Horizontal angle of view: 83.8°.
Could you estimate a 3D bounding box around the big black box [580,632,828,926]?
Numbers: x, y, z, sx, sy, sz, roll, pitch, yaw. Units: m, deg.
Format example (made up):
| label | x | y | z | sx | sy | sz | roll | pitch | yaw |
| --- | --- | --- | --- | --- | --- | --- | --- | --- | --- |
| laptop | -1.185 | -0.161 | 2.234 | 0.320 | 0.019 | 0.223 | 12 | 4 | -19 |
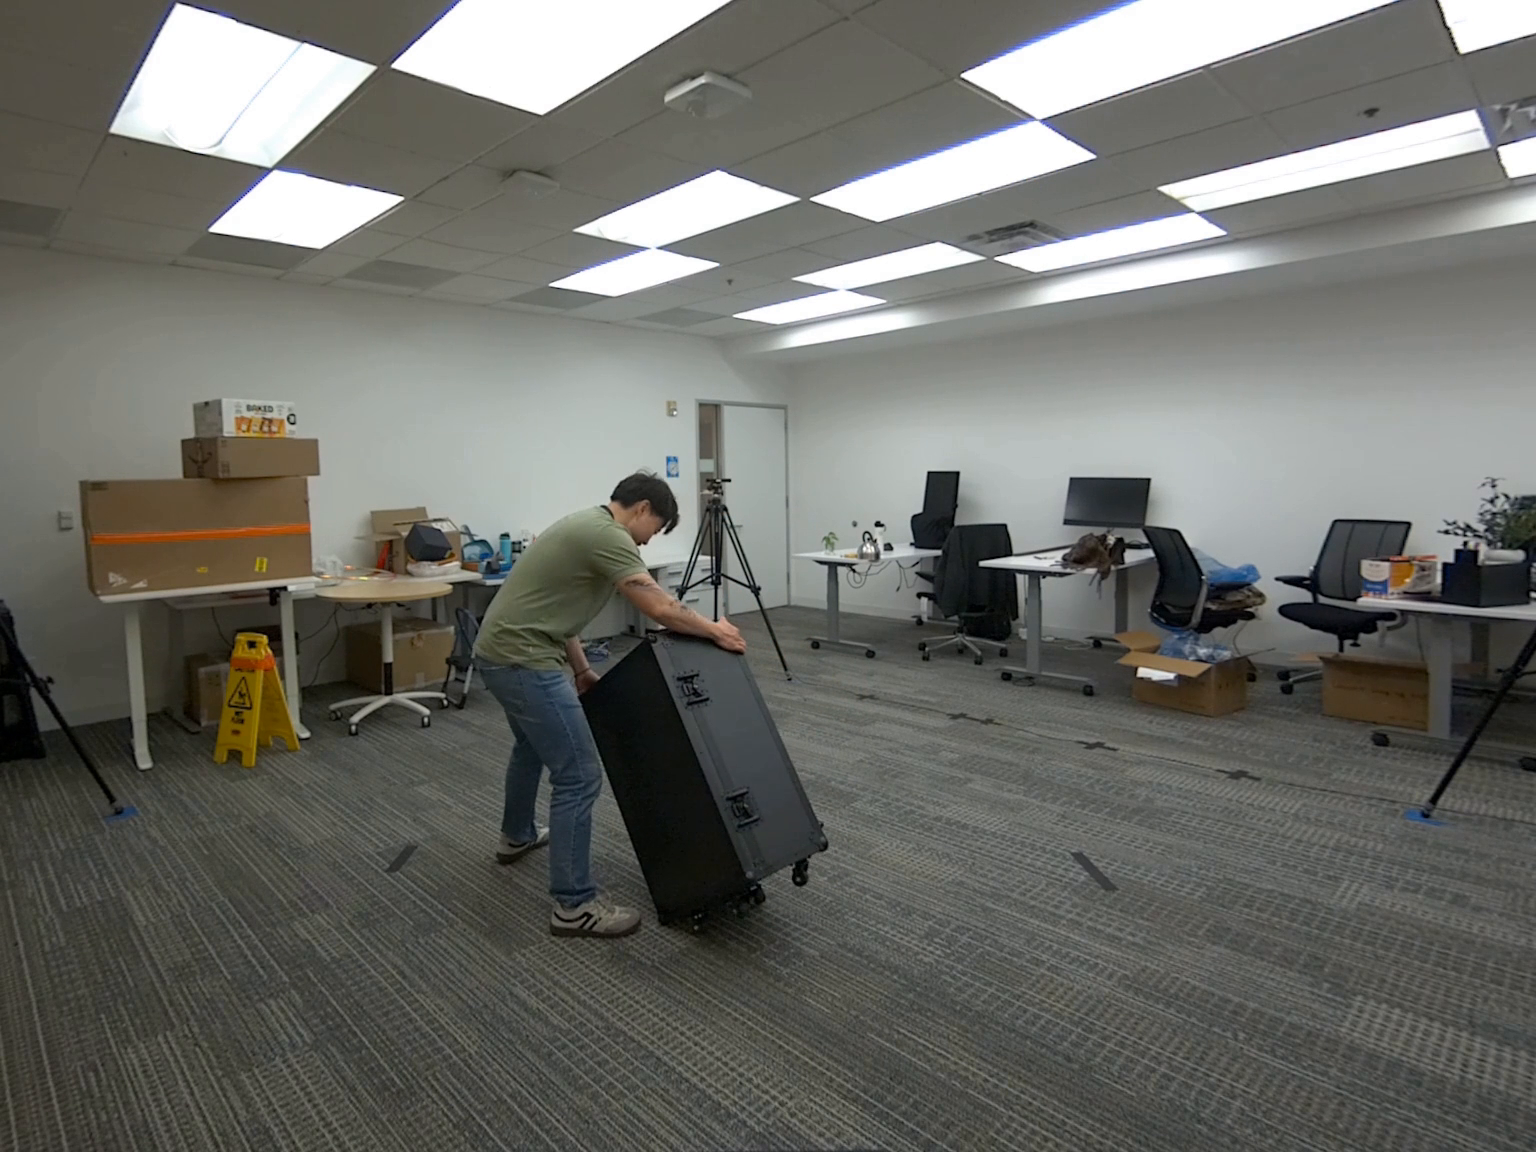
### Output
| label | x | y | z | sx | sy | sz | roll | pitch | yaw |
| --- | --- | --- | --- | --- | --- | --- | --- | --- | --- |
| big black box | -0.215 | 0.657 | 2.795 | 0.385 | 0.883 | 0.522 | -4 | -29 | -44 |
